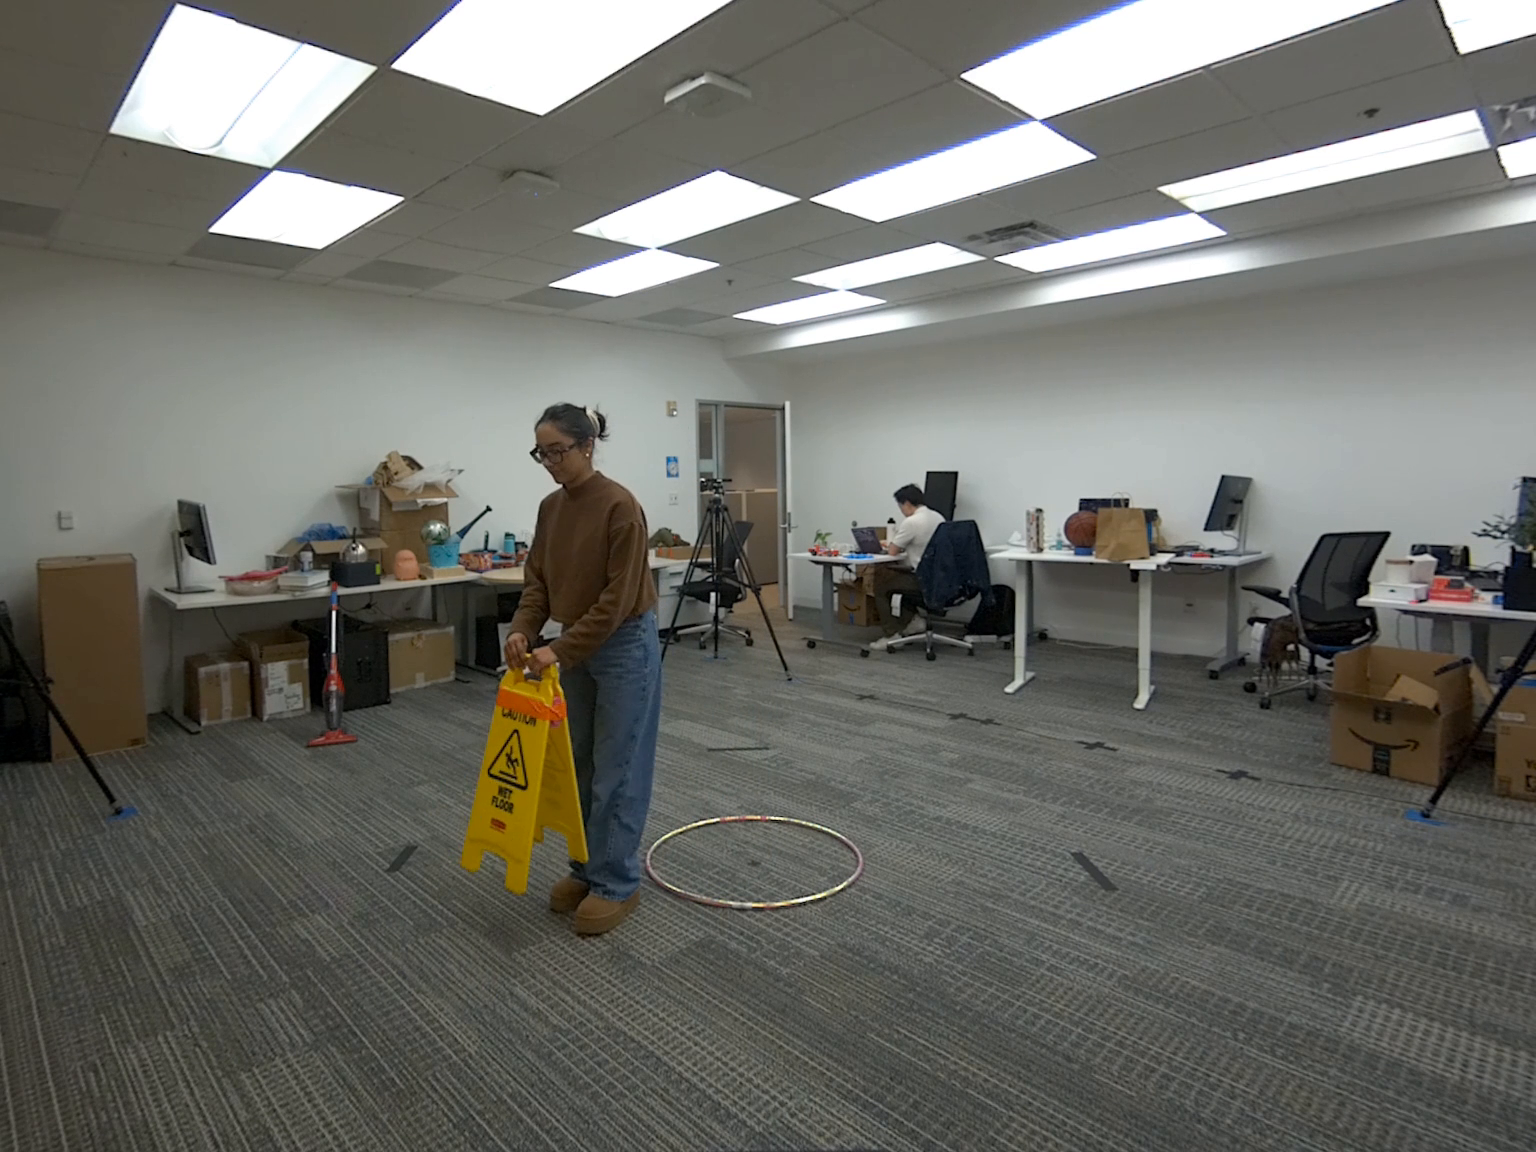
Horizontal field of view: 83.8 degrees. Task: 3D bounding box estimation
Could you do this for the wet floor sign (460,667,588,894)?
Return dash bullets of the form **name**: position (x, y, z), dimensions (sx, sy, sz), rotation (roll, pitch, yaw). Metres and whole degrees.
- **wet floor sign**: position (-0.724, 0.565, 2.586), dimensions (0.291, 0.643, 0.282), rotation (6, 6, 35)
